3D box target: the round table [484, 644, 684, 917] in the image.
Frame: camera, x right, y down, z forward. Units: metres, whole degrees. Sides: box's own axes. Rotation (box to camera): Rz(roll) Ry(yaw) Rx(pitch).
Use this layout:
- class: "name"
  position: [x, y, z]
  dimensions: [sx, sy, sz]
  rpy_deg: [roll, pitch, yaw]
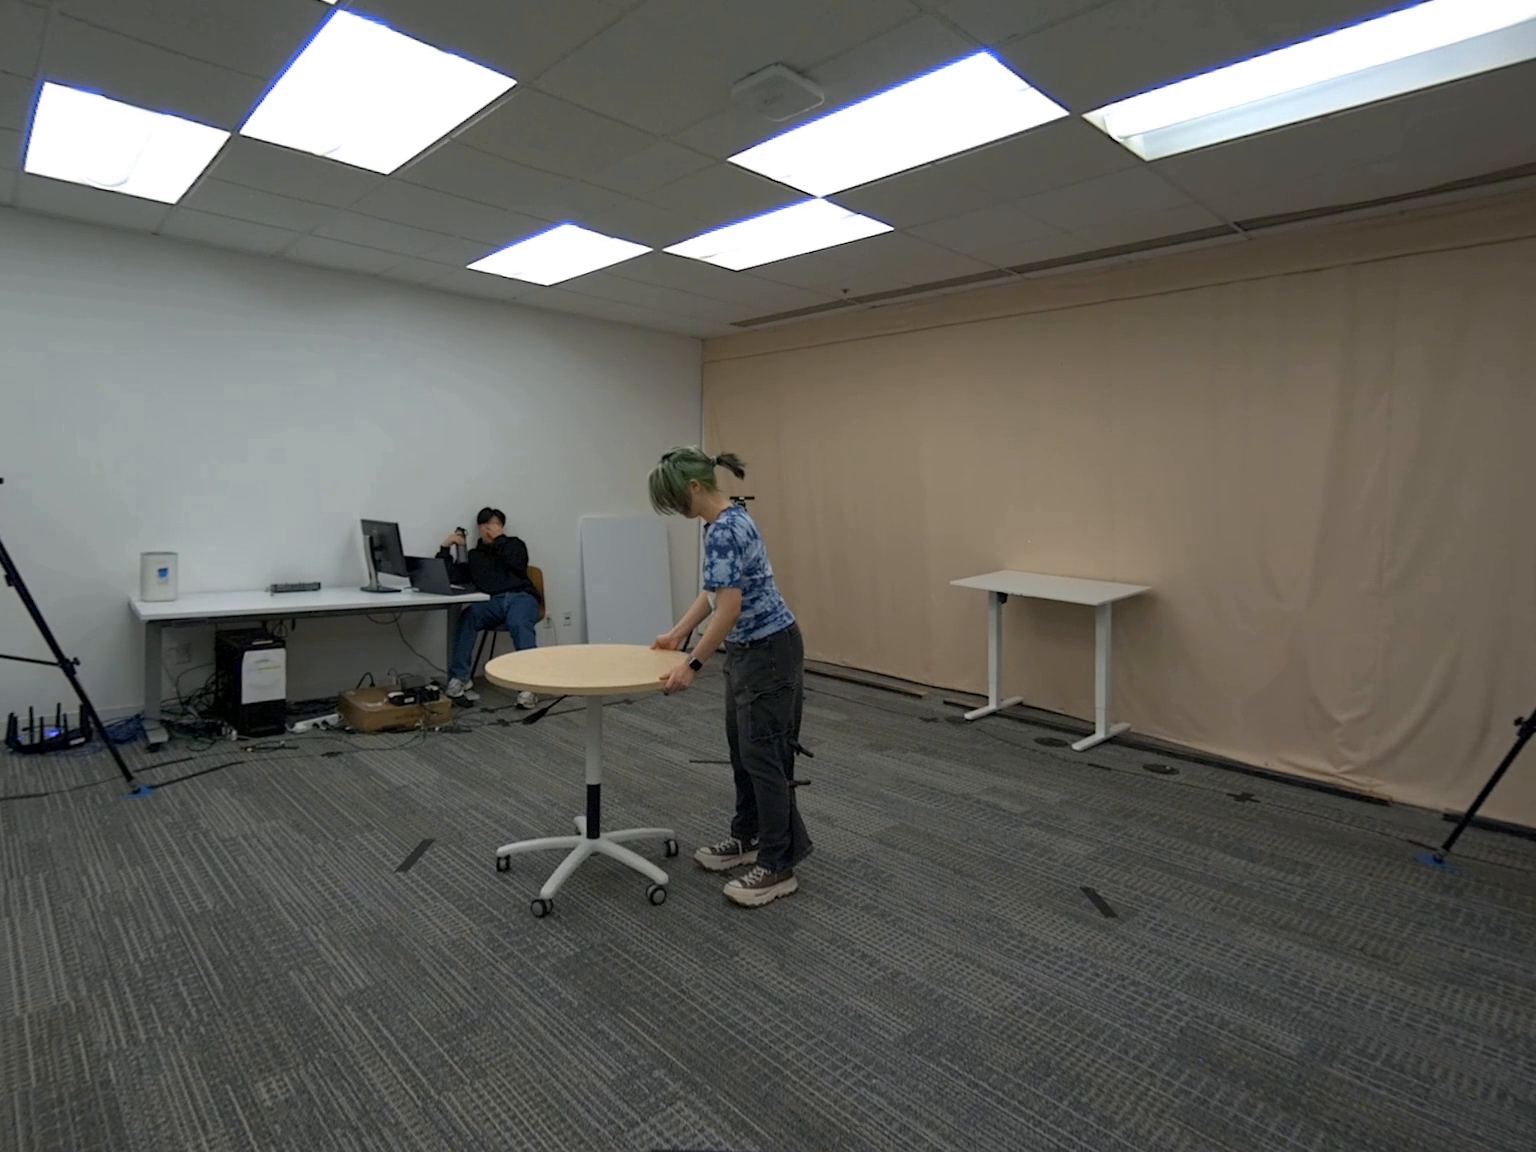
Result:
- class: "round table"
  position: [-0.645, 0.707, 3.061]
  dimensions: [0.763, 0.792, 0.767]
  rpy_deg: [1, 4, -1]
